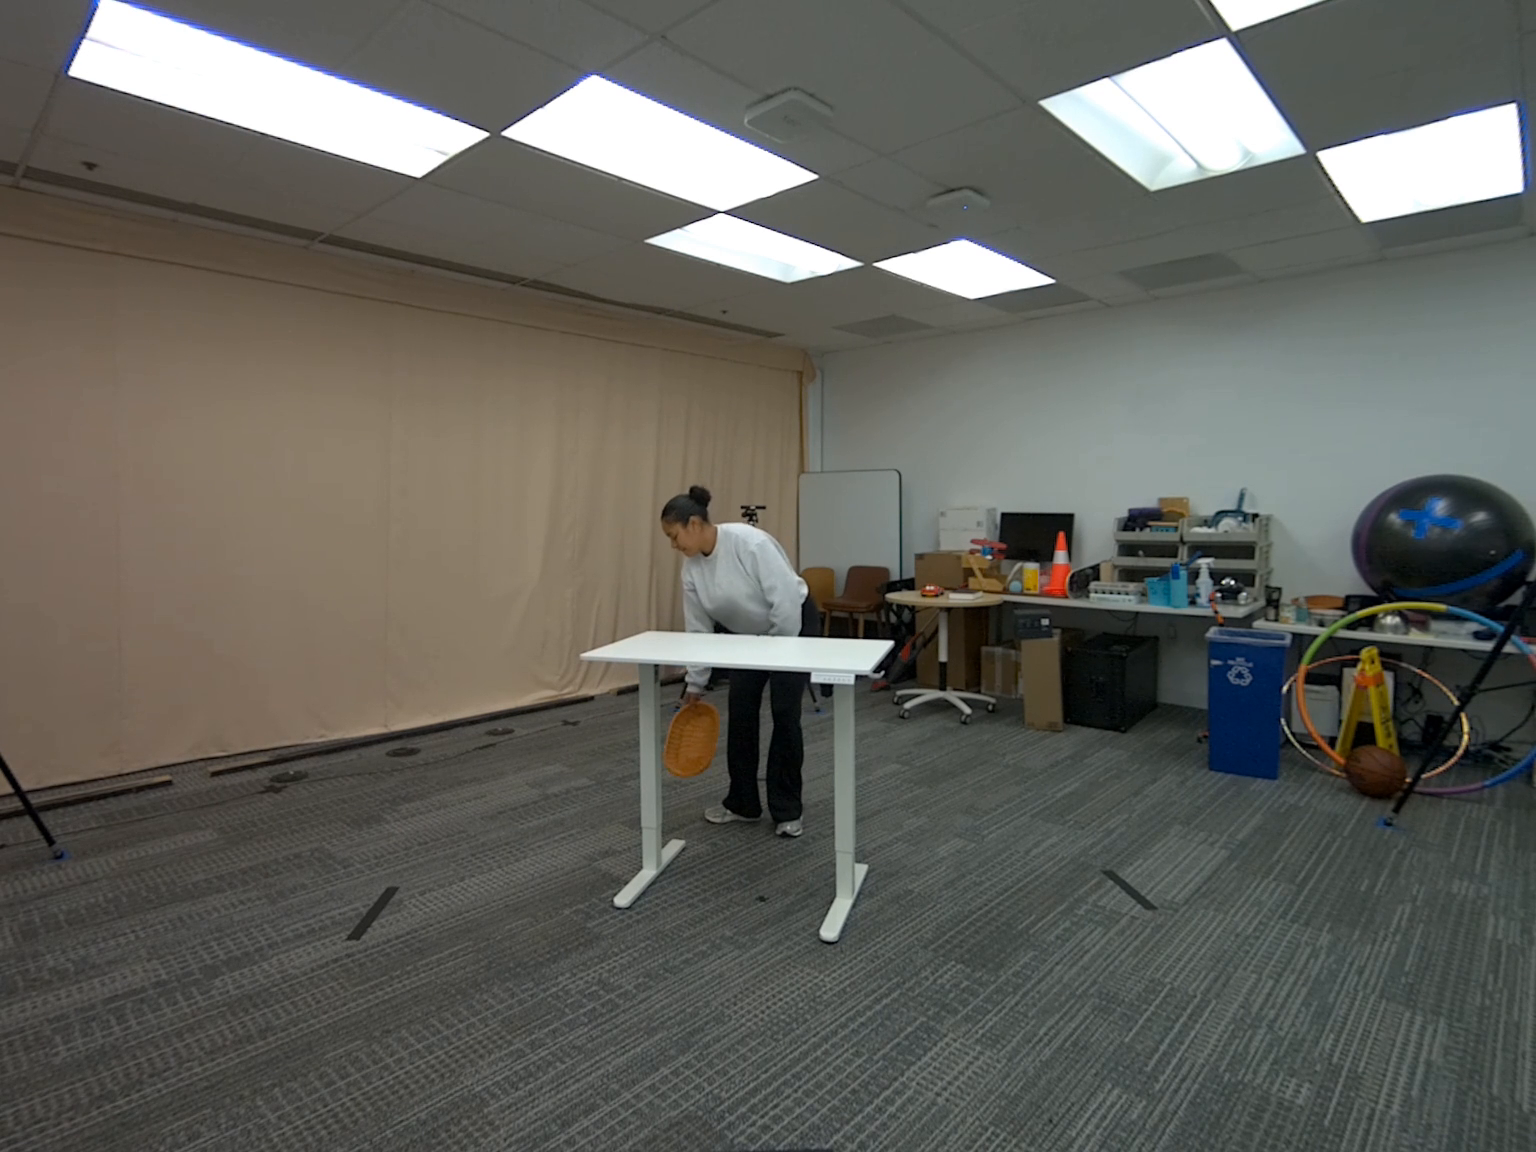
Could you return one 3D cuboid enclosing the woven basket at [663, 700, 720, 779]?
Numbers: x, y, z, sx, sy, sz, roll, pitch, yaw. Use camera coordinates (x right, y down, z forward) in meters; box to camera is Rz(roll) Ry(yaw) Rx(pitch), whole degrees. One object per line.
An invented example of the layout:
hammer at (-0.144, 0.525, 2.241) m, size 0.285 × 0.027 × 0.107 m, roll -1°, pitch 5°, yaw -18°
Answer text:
woven basket at (-0.307, 0.709, 3.616) m, size 0.259 × 0.353 × 0.071 m, roll -3°, pitch -36°, yaw 26°
